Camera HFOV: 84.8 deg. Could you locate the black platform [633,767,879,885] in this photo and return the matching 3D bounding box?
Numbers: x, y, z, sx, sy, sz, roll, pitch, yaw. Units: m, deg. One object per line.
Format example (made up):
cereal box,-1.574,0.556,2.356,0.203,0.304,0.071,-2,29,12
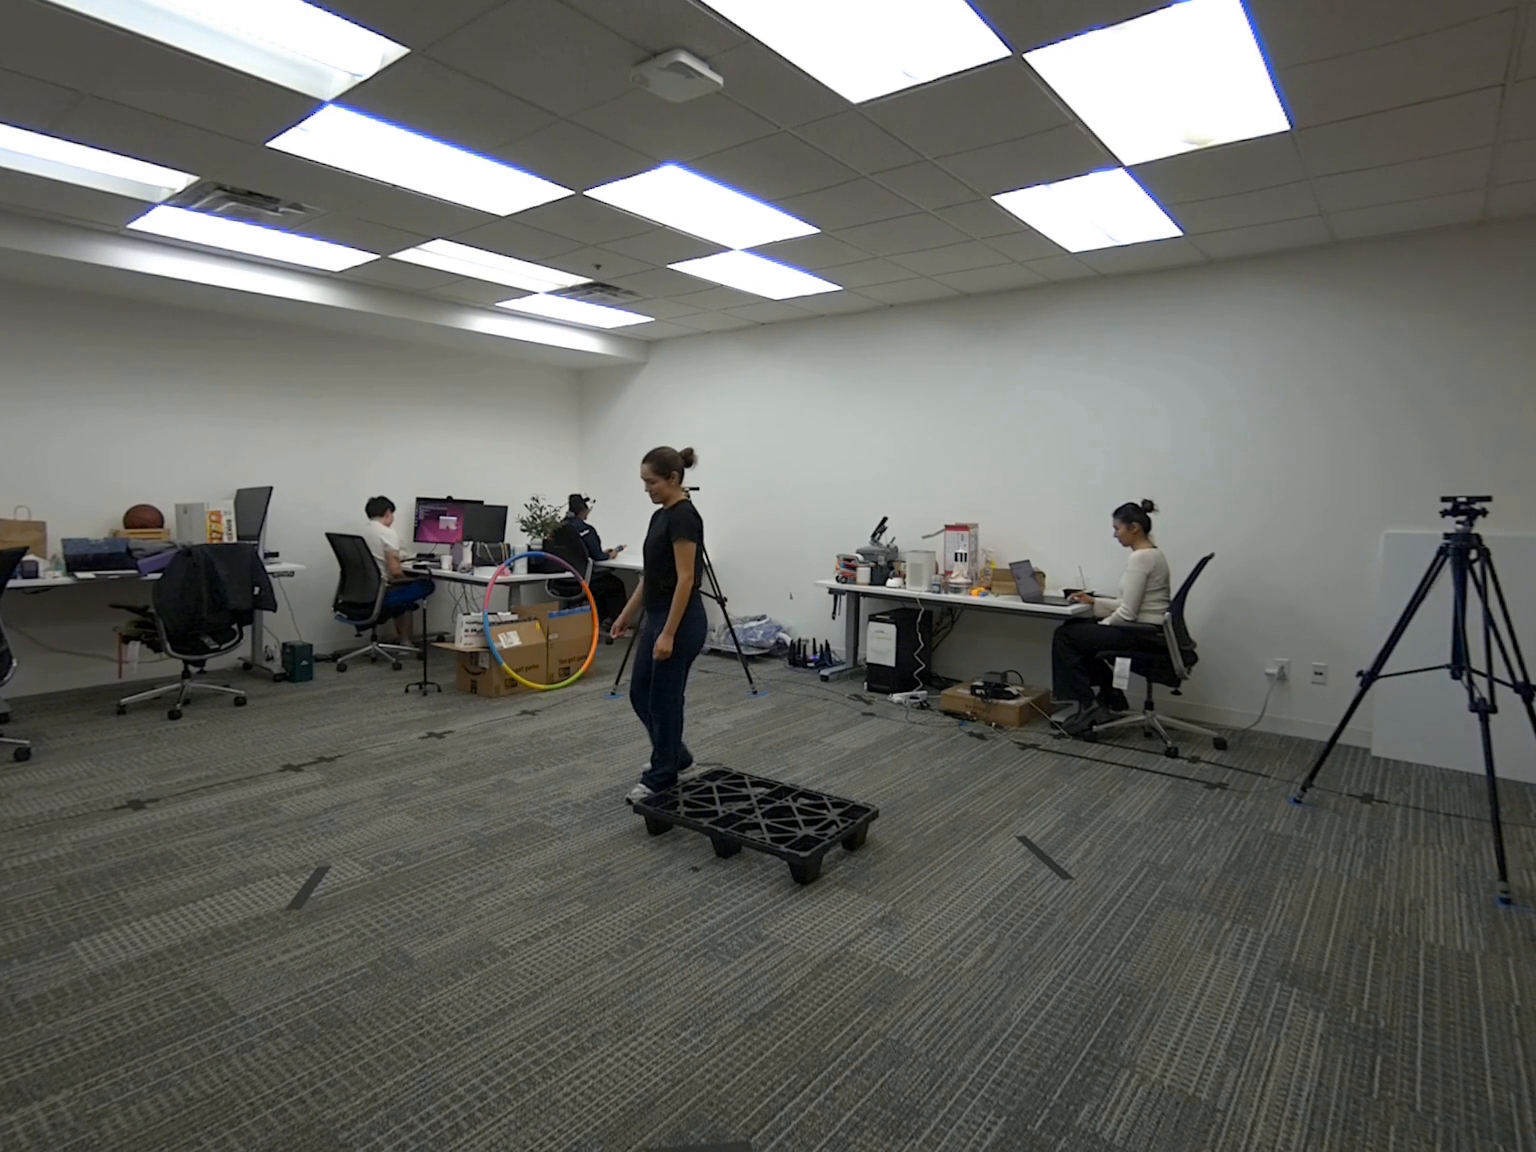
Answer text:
black platform,-0.033,0.975,3.401,0.832,0.143,0.588,5,6,35
